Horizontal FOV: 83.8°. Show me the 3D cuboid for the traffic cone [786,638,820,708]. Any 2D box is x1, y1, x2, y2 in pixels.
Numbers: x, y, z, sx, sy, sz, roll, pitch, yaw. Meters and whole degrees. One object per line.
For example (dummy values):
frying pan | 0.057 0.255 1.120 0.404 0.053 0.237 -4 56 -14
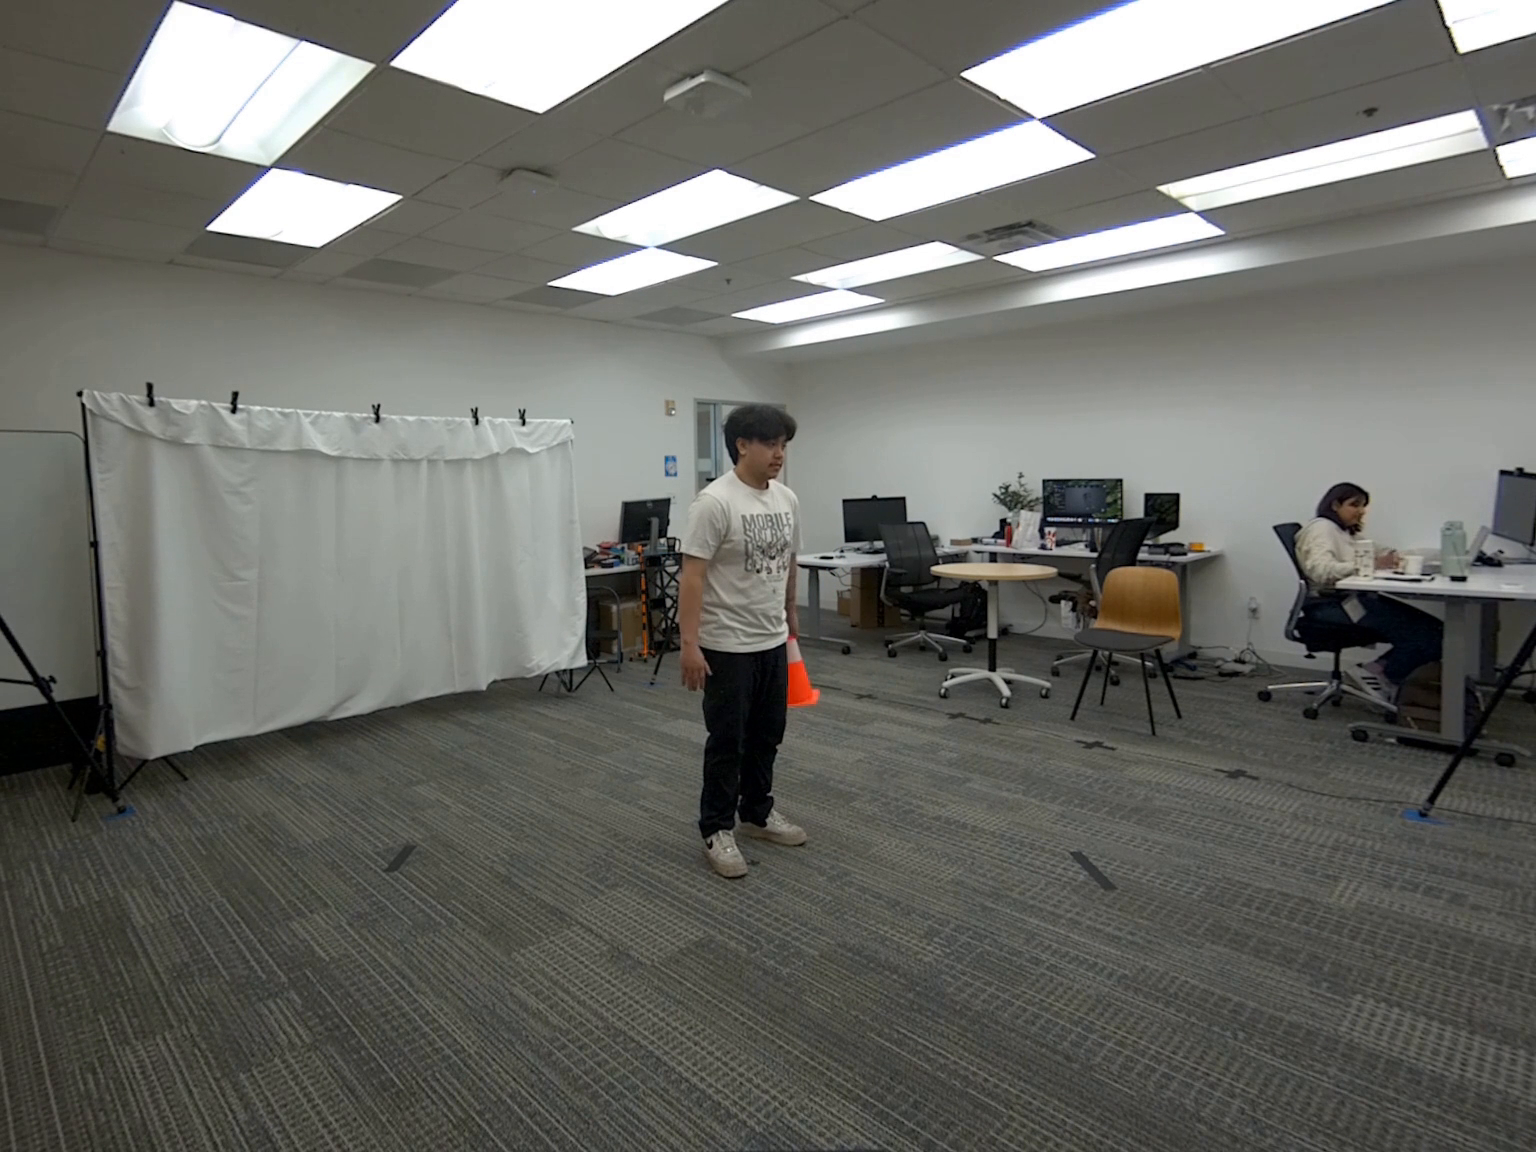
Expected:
traffic cone | 0.093 0.327 3.554 0.206 0.381 0.203 -5 8 8
